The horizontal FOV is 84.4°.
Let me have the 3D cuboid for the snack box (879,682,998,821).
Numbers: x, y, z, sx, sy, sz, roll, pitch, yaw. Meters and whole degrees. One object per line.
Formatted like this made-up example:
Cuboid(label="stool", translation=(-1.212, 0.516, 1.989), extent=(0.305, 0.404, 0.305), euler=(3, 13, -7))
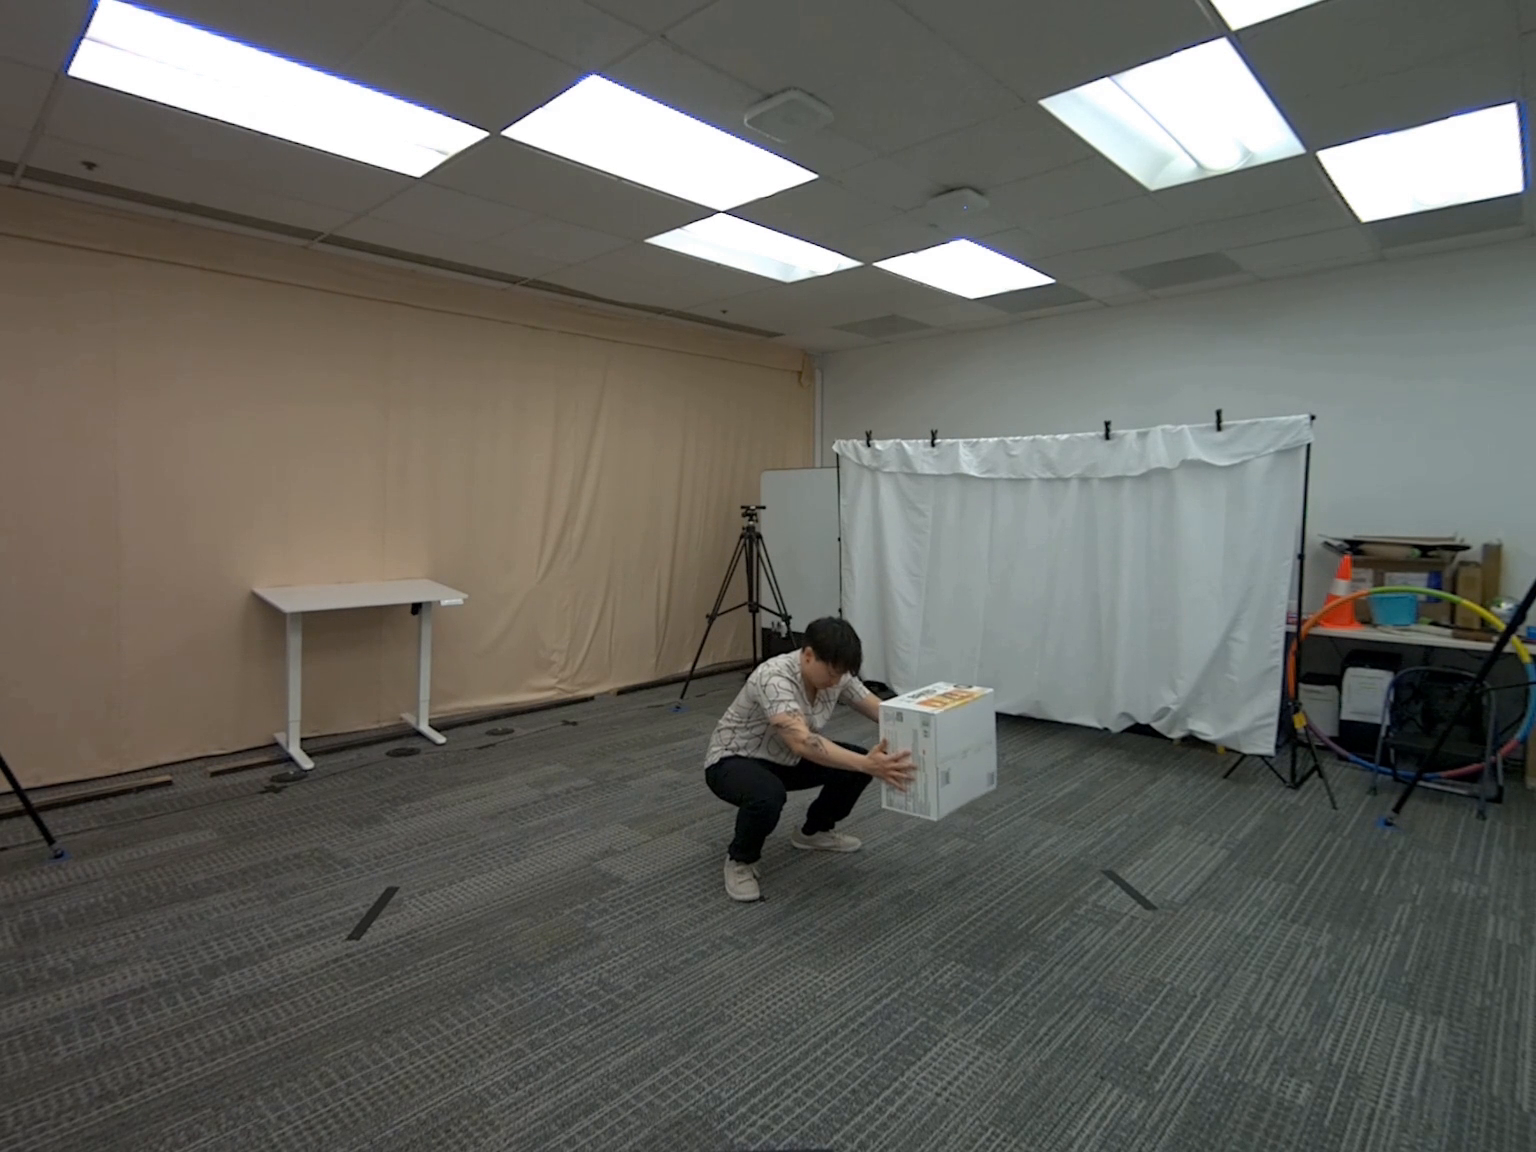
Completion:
Cuboid(label="snack box", translation=(0.574, 0.563, 2.767), extent=(0.212, 0.340, 0.393), euler=(0, 4, 42))
